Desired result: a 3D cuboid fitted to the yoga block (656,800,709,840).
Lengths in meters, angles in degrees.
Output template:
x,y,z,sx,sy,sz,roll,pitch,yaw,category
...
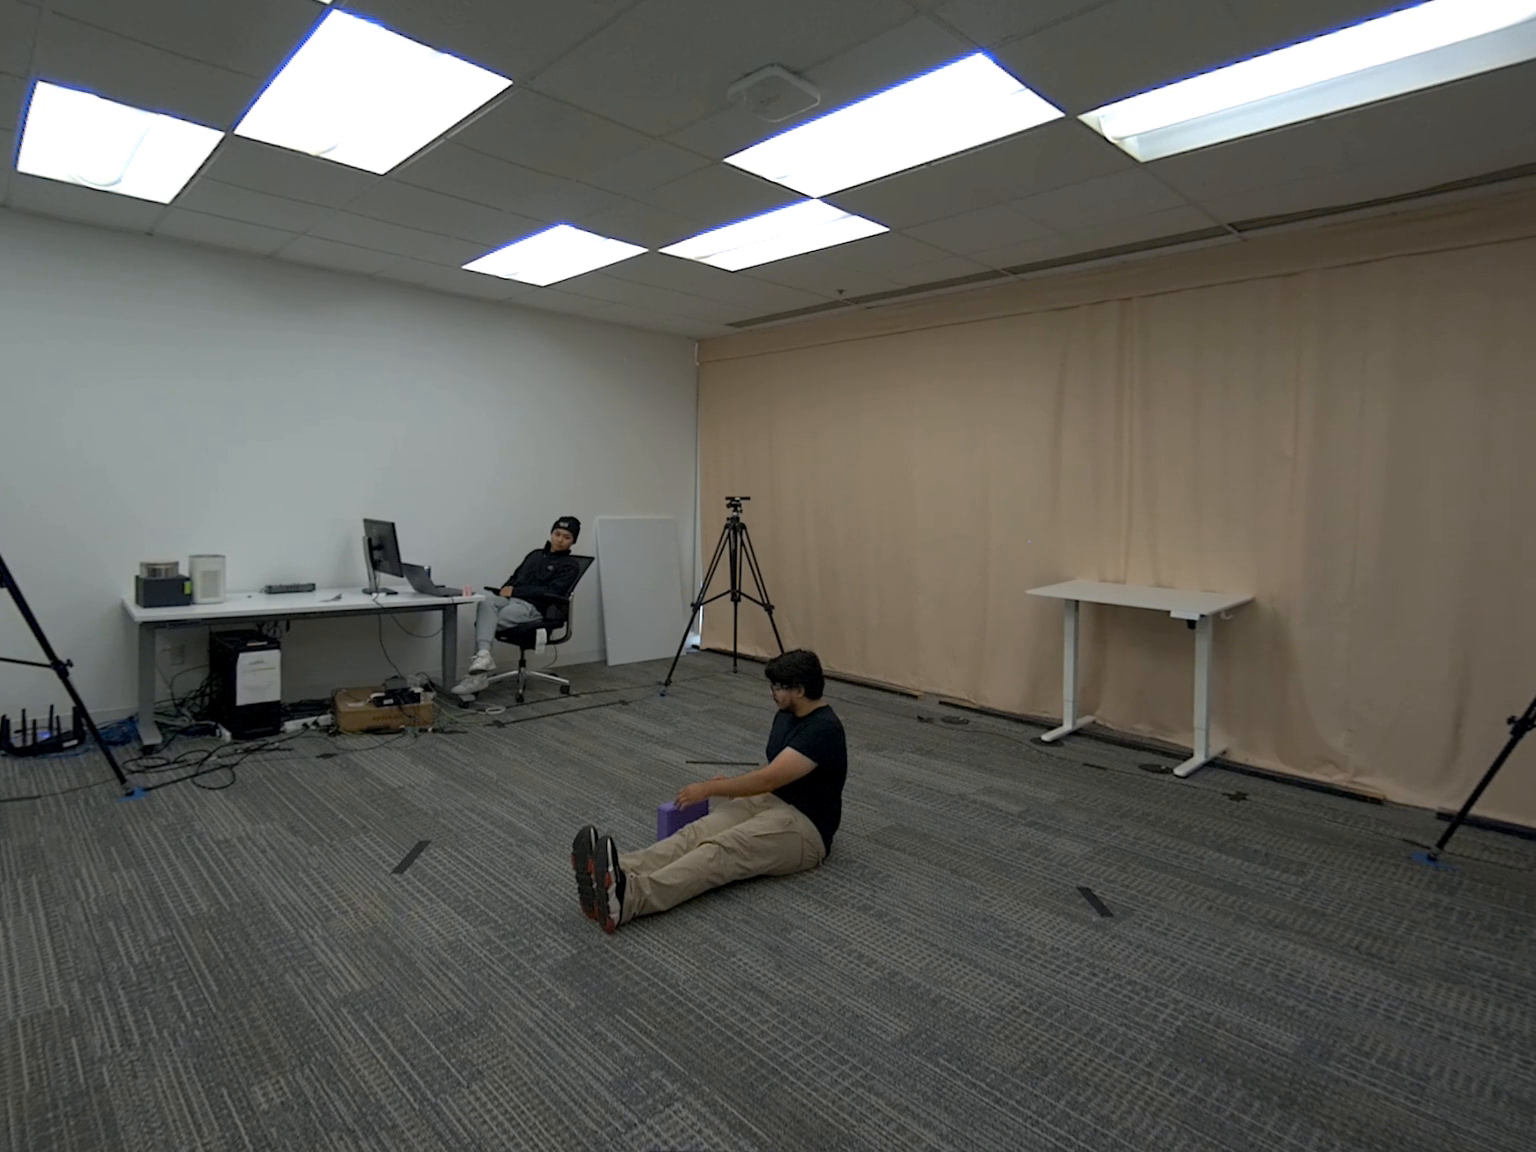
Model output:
x,y,z,sx,sy,sz,roll,pitch,yaw,category
-0.348,0.988,3.455,0.078,0.148,0.224,3,5,44,yoga block
